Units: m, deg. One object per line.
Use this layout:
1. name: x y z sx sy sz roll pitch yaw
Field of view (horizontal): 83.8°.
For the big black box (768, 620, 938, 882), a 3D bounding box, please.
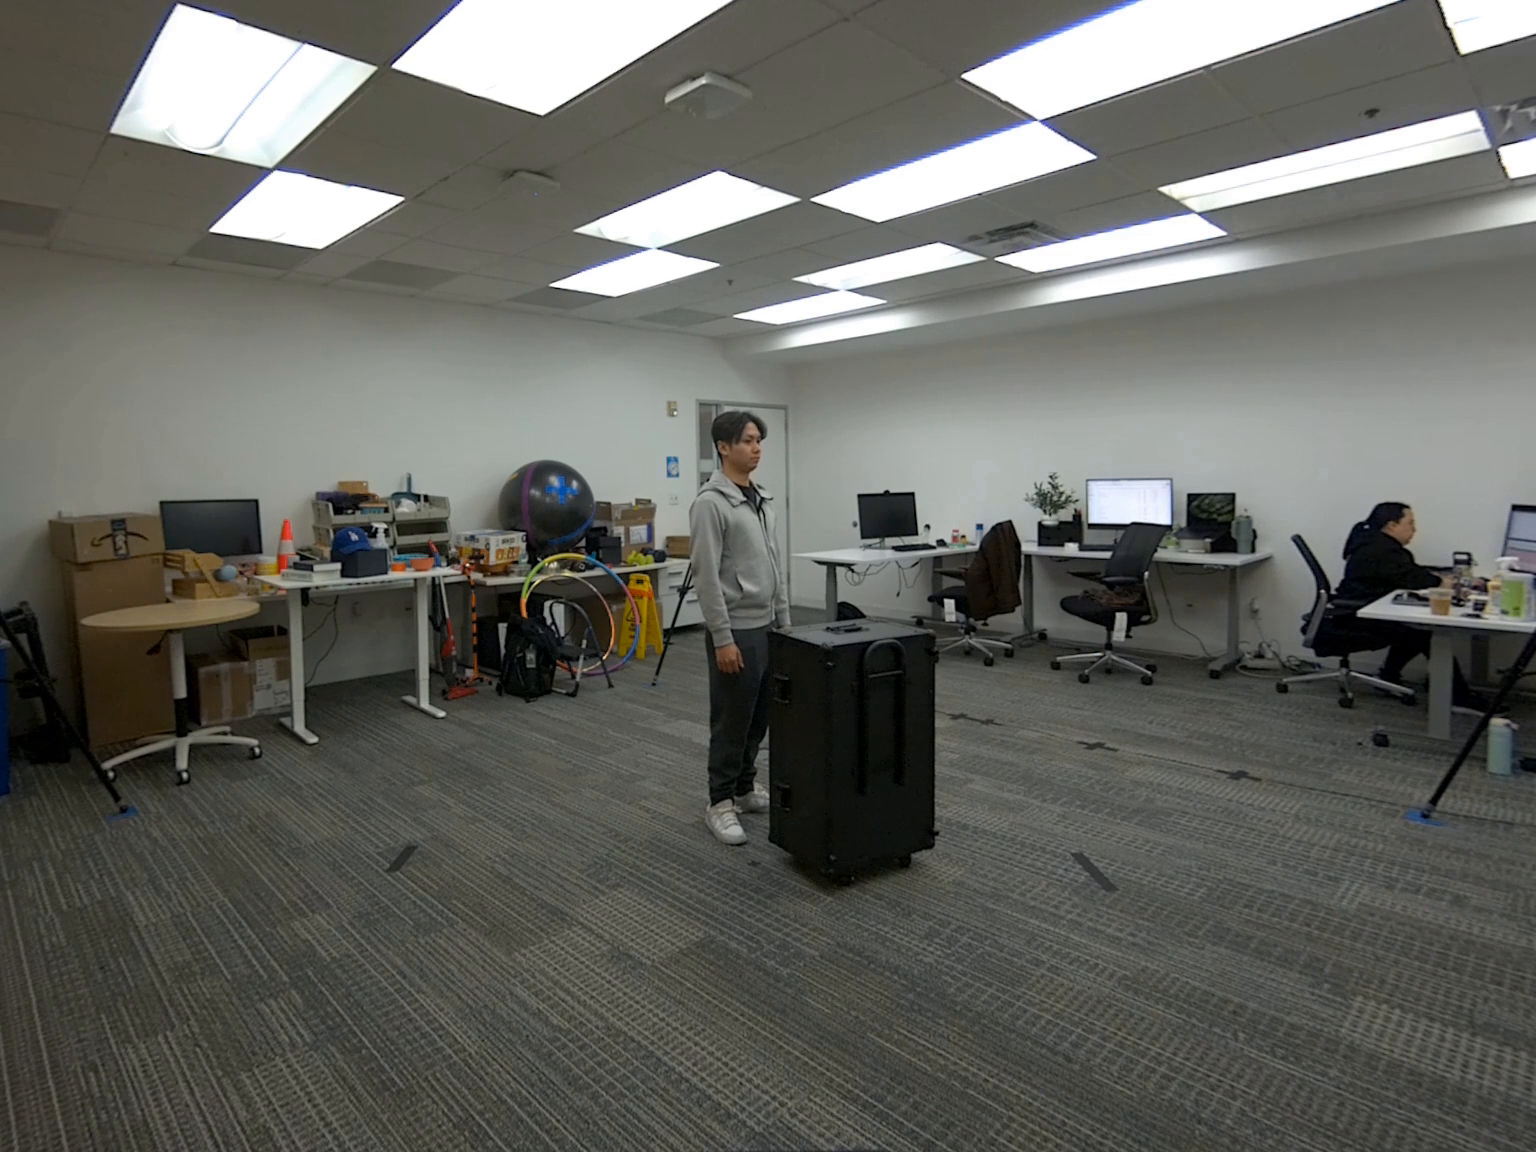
1. big black box: 0.313 0.621 3.056 0.509 0.857 0.407 -3 6 -30
